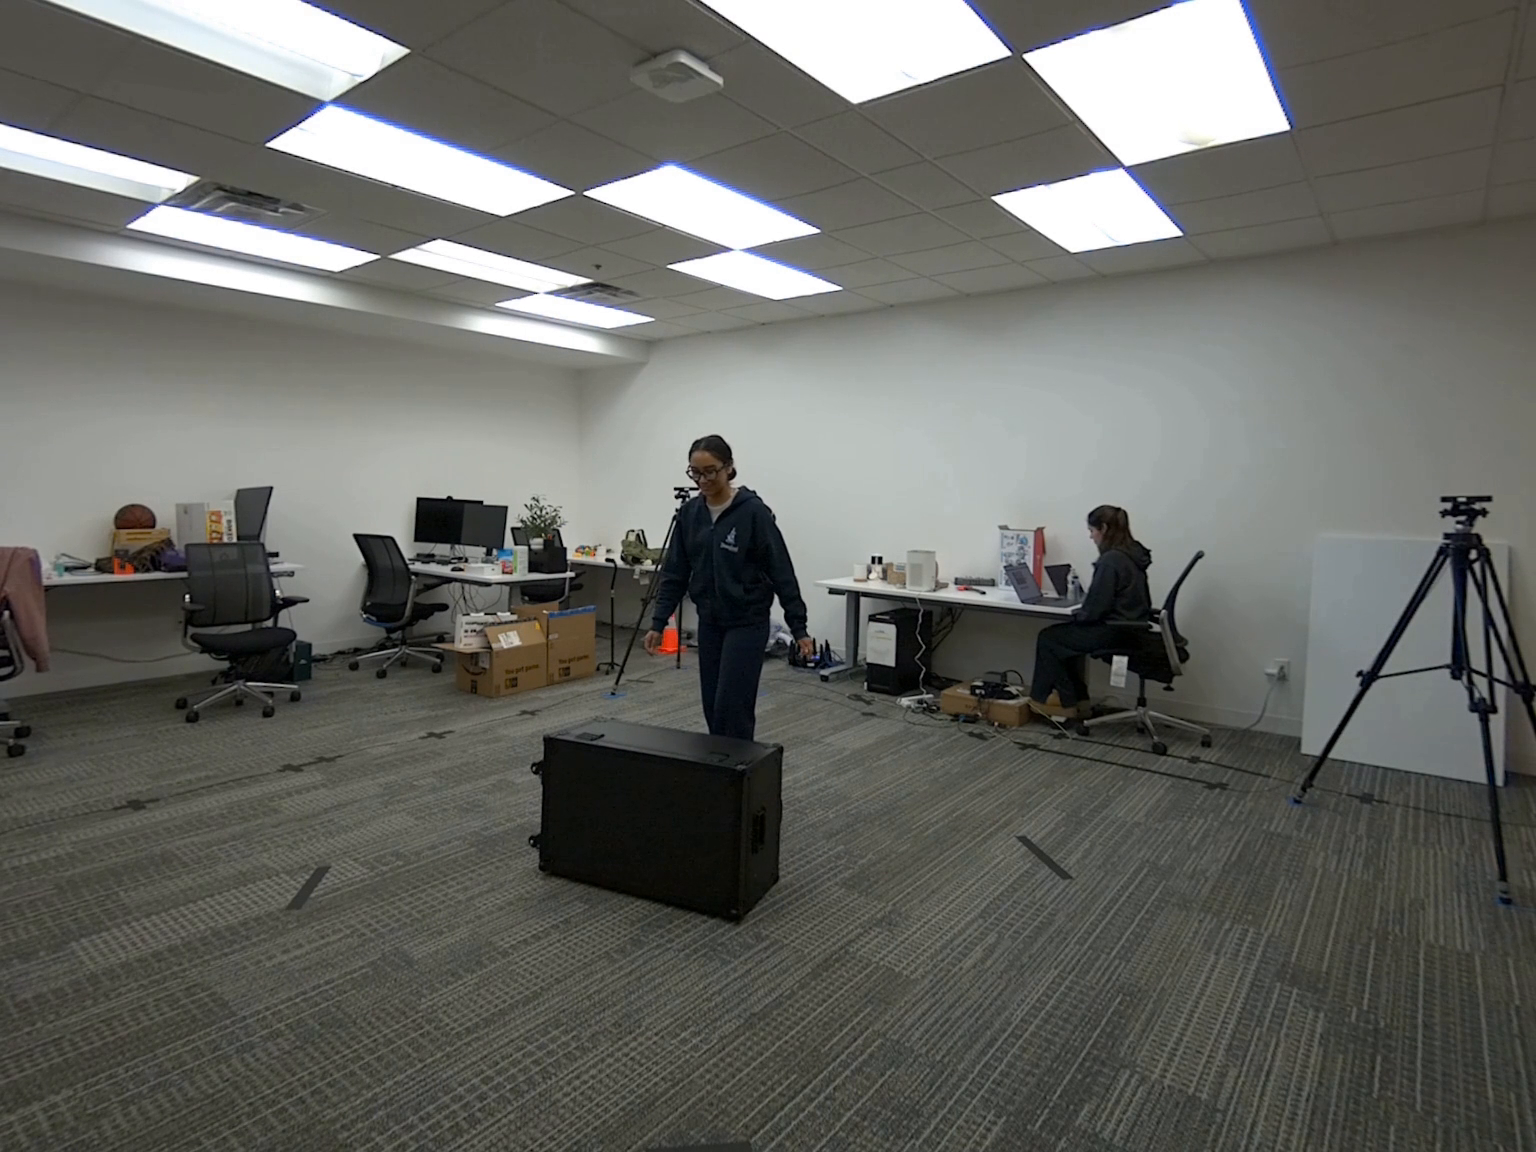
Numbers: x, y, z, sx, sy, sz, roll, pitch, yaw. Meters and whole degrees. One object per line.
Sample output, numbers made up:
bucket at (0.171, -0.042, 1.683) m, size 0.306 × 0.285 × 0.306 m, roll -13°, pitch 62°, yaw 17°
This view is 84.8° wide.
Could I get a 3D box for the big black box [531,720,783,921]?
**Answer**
big black box at (-0.418, 0.813, 3.047) m, size 0.883 × 0.521 × 0.387 m, roll 3°, pitch 2°, yaw 24°
